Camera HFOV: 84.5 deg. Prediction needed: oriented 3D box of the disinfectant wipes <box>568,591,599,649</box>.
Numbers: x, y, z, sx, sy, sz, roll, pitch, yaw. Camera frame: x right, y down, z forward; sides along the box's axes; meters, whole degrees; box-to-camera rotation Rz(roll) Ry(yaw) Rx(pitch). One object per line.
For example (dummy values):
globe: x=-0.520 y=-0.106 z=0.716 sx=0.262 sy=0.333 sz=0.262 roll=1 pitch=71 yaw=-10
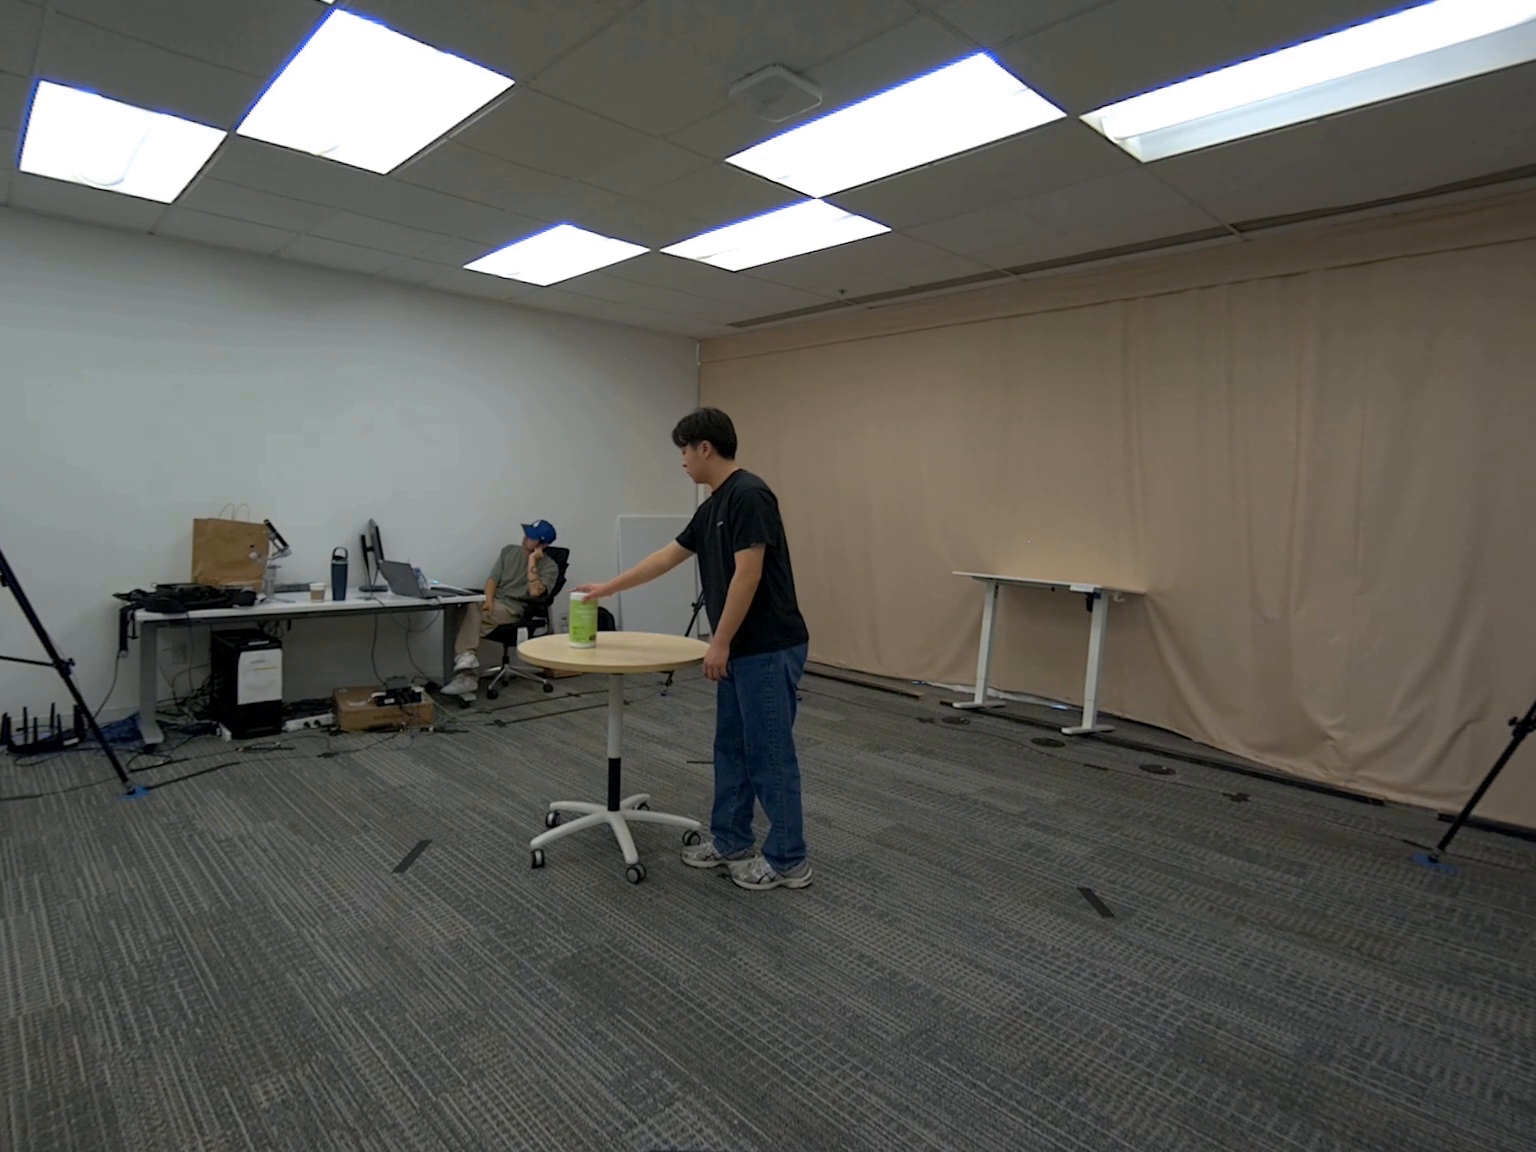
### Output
disinfectant wipes: x=-0.730 y=0.173 z=3.311 sx=0.118 sy=0.216 sz=0.118 roll=2 pitch=6 yaw=-2
